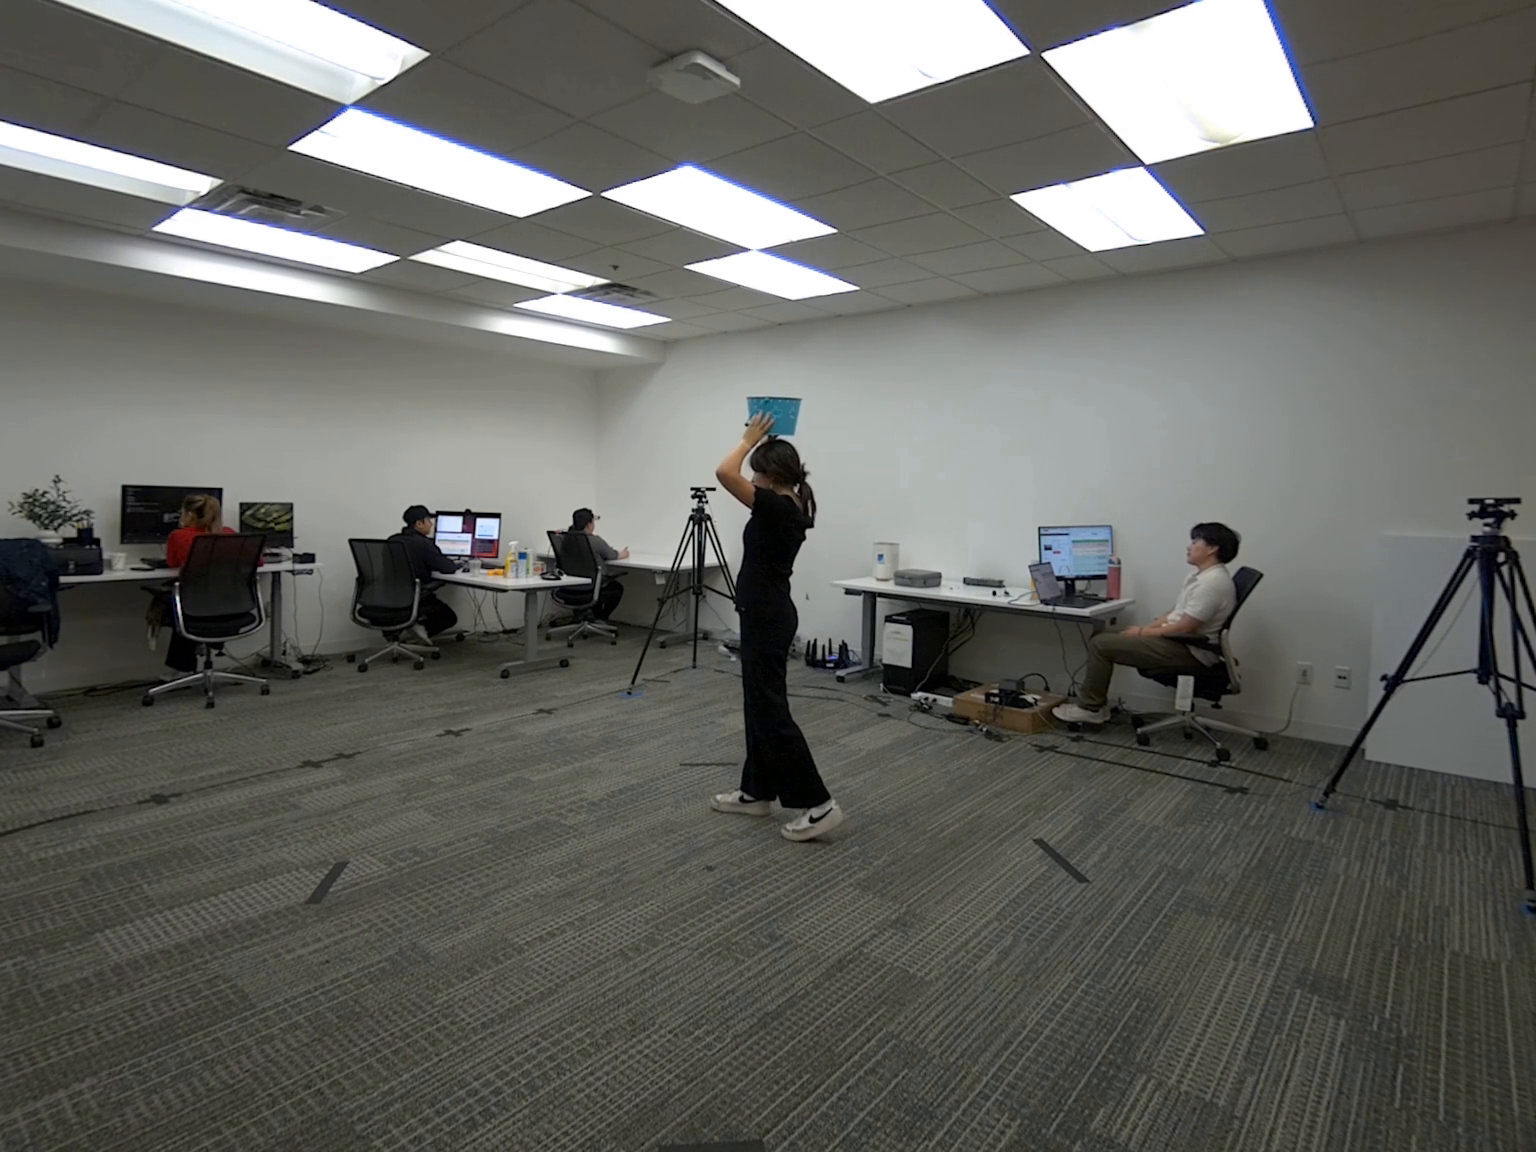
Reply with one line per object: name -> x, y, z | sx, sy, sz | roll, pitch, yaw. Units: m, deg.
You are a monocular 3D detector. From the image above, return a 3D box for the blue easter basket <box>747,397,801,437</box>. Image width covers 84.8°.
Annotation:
blue easter basket -> 0.016, -0.665, 3.525 | 0.243, 0.154, 0.246 | 3, 10, -2
